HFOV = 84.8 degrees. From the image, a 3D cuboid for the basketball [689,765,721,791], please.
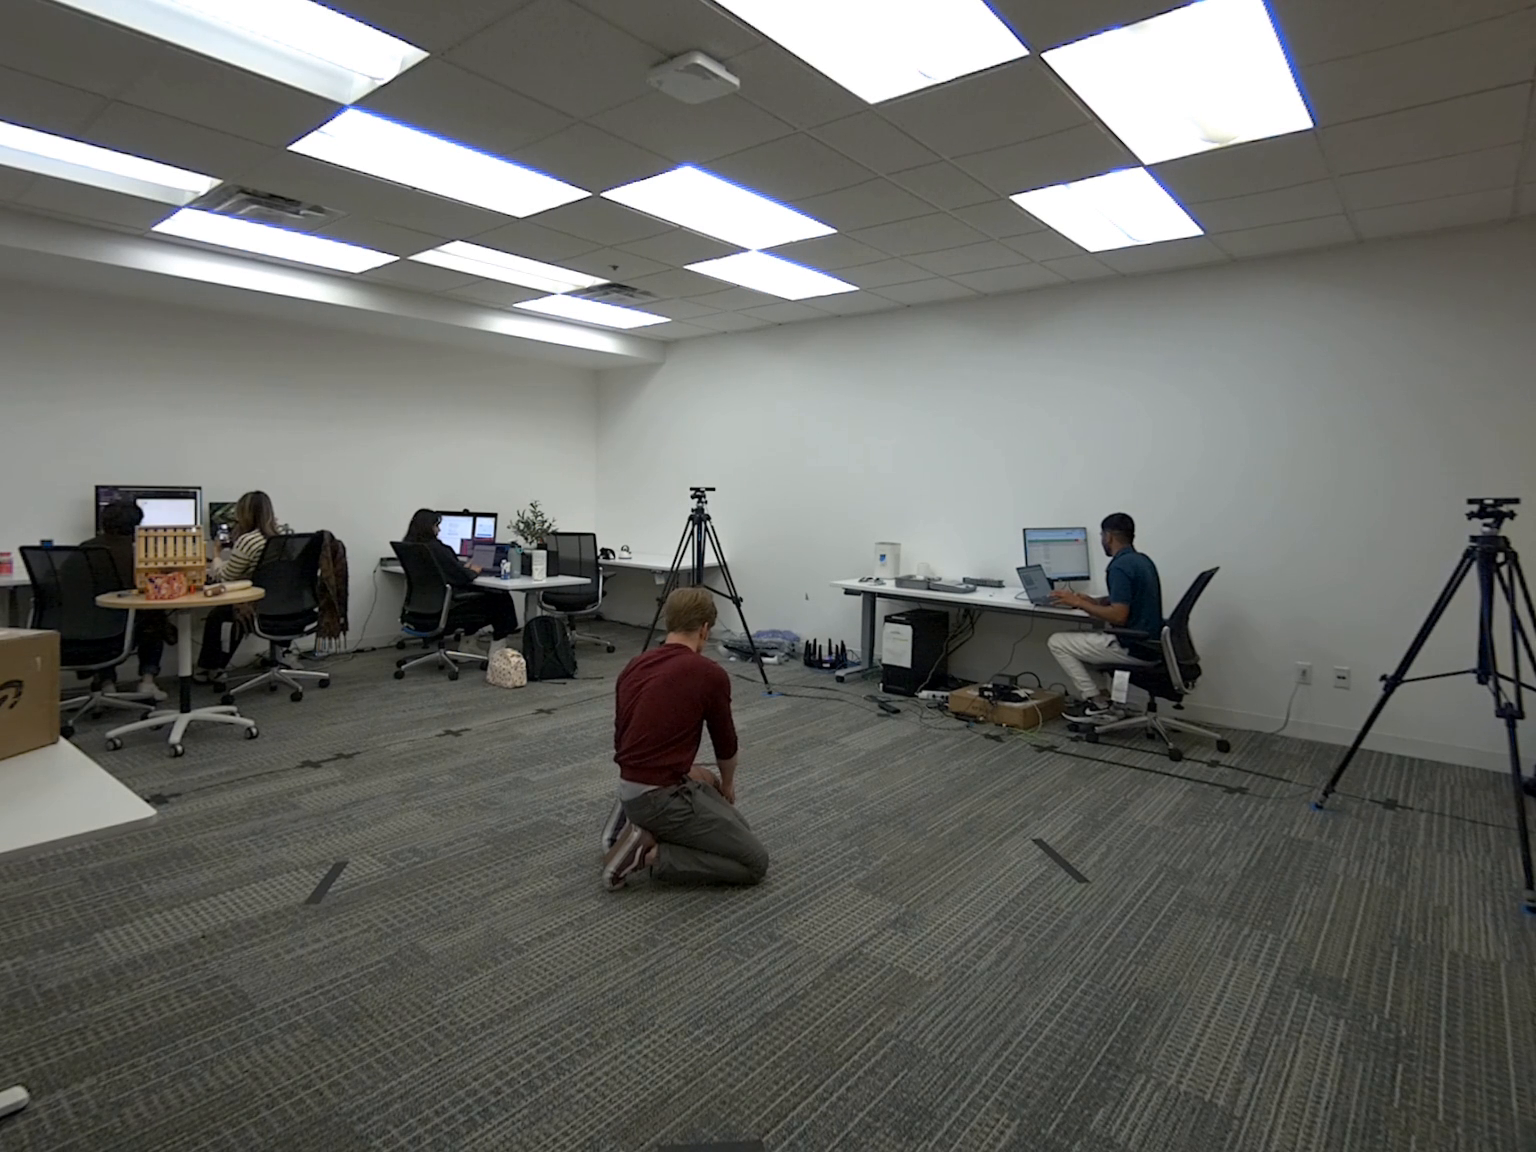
[{"bbox_3d":[-0.306,0.900,3.504,0.235,0.235,0.237,1,4,-2],"label":"basketball"}]
